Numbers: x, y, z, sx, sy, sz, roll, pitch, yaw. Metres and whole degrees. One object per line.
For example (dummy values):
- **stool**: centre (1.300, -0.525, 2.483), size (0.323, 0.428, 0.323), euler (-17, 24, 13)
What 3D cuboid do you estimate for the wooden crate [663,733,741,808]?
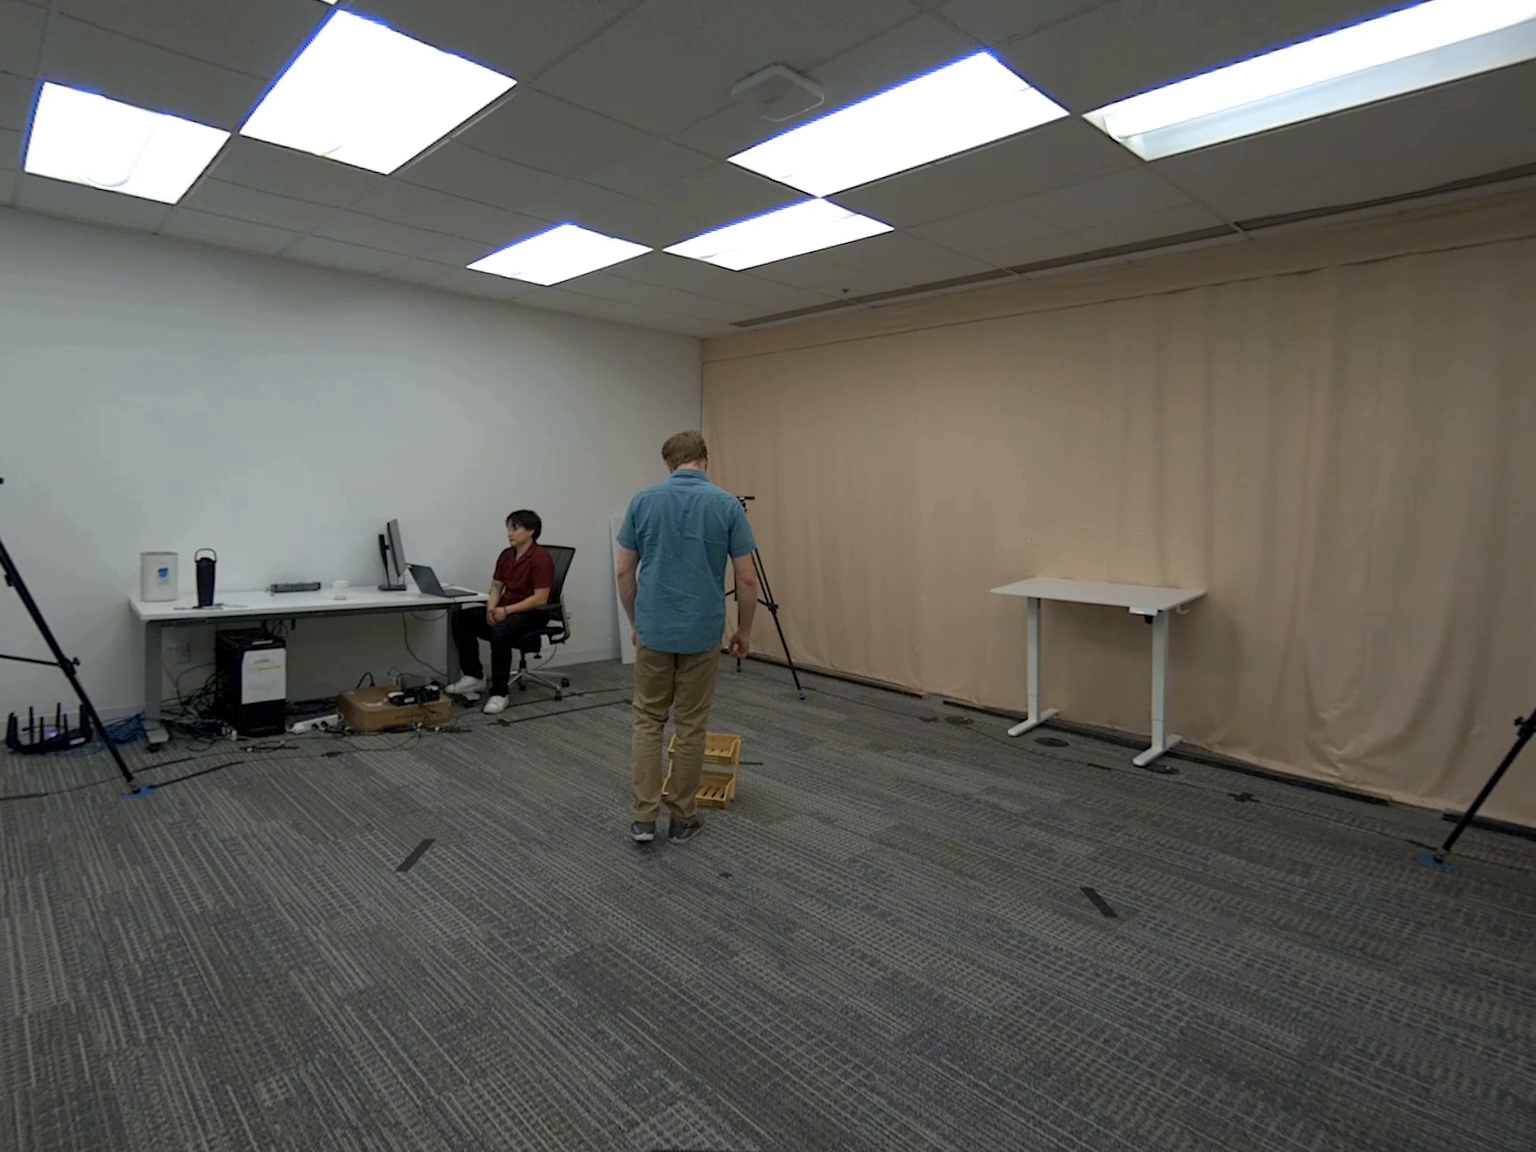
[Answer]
- **wooden crate**: centre (-0.318, 0.893, 3.919), size (0.328, 0.273, 0.299), euler (2, 2, 12)
